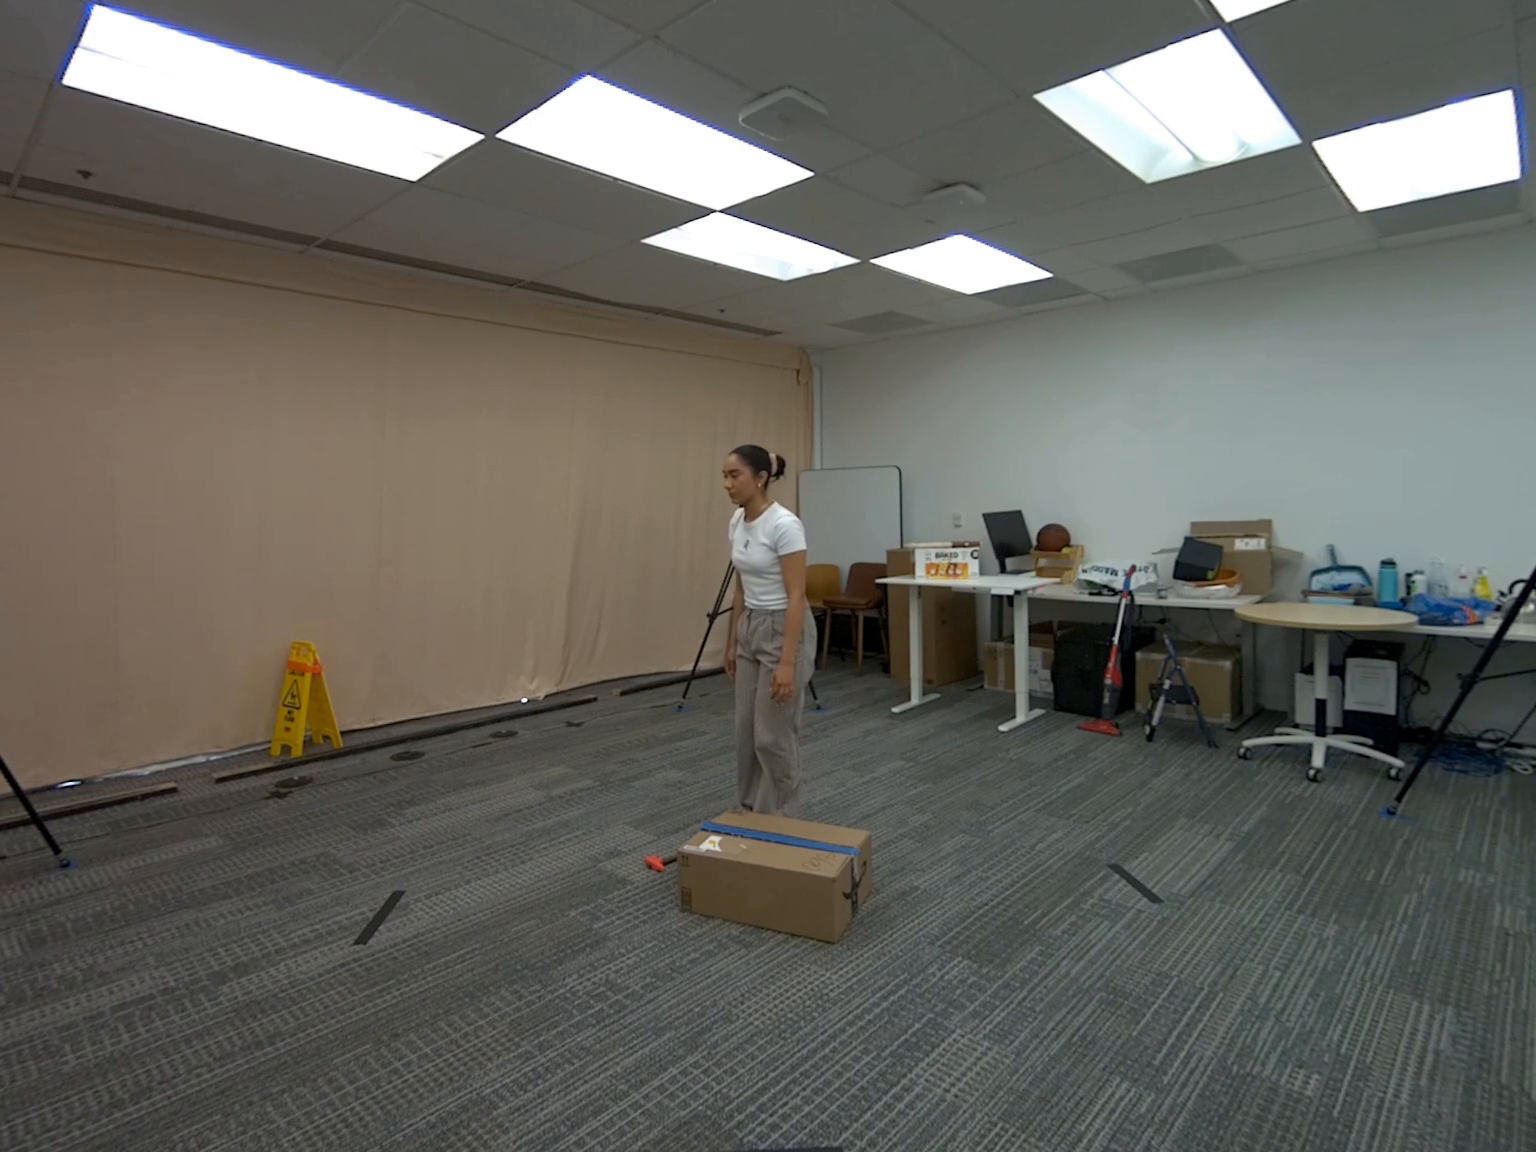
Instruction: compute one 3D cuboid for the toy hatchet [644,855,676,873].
[{"bbox_3d":[-0.391,1.110,3.336,0.135,0.029,0.262,-1,3,33],"label":"toy hatchet"}]
